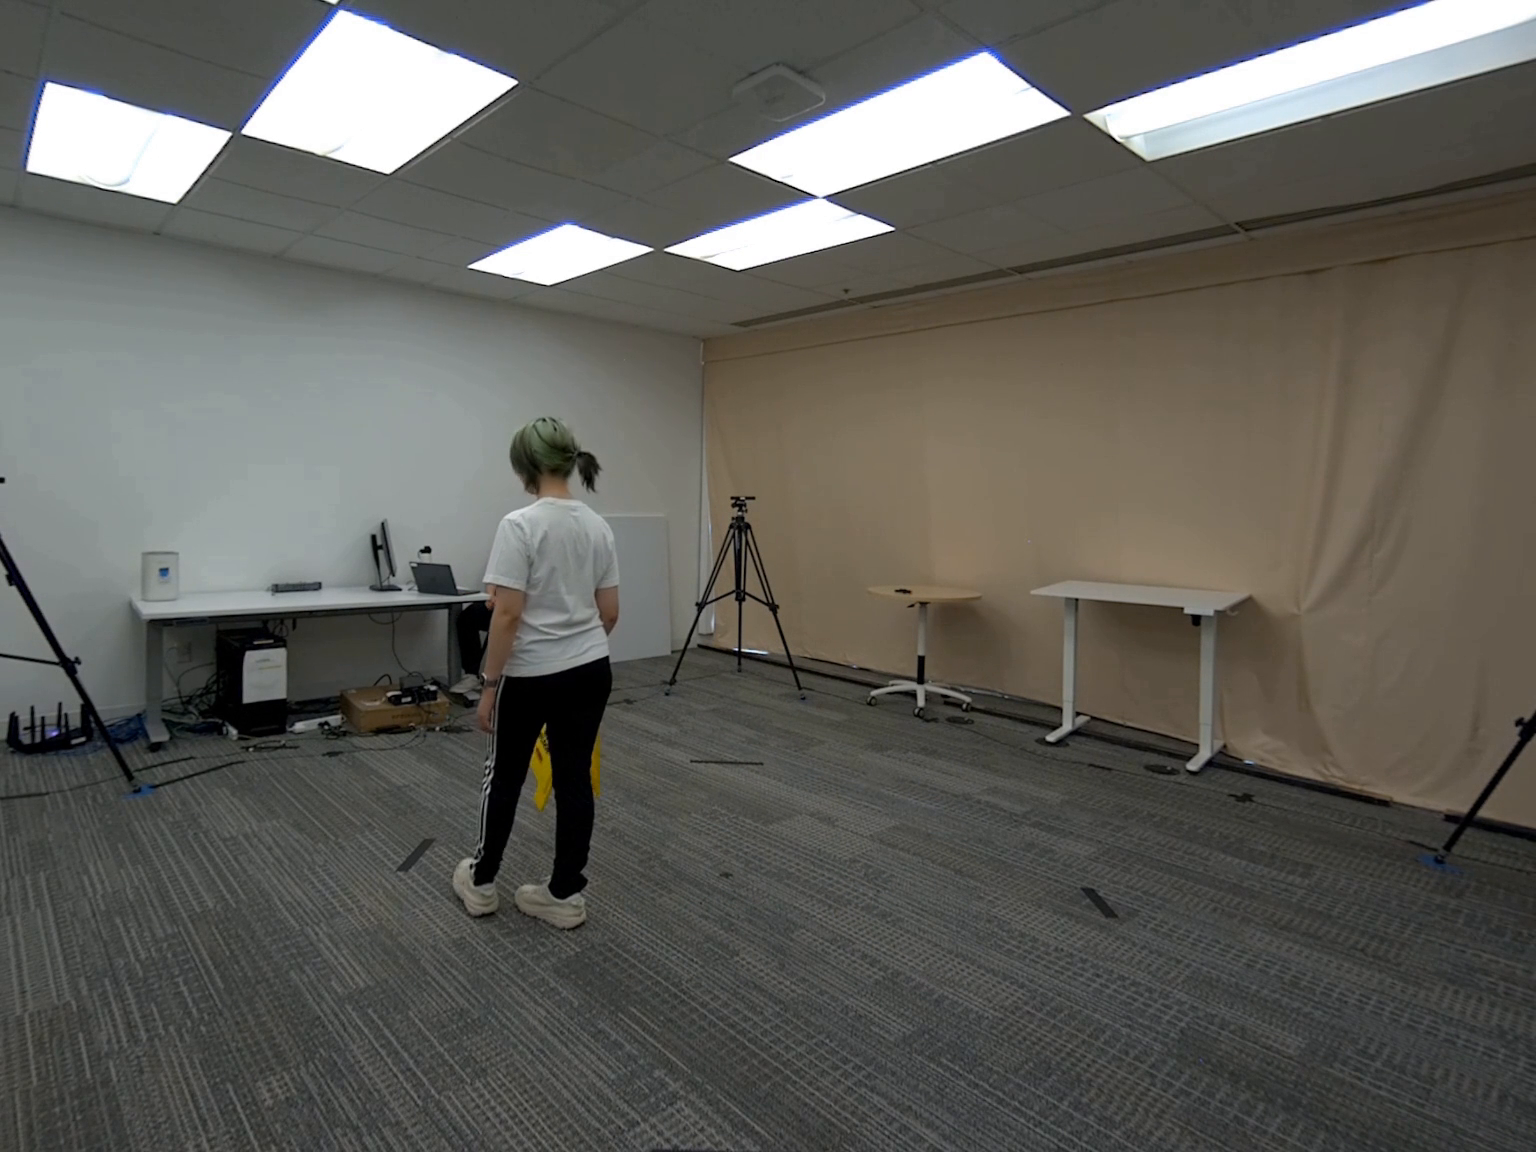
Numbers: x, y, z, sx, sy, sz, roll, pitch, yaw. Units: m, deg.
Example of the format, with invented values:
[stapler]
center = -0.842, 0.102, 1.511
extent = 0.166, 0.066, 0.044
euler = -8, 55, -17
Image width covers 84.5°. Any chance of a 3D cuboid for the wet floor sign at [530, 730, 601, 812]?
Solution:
[wet floor sign]
center = -0.756, 0.544, 3.185
extent = 0.284, 0.639, 0.291
euler = -3, 34, -35
